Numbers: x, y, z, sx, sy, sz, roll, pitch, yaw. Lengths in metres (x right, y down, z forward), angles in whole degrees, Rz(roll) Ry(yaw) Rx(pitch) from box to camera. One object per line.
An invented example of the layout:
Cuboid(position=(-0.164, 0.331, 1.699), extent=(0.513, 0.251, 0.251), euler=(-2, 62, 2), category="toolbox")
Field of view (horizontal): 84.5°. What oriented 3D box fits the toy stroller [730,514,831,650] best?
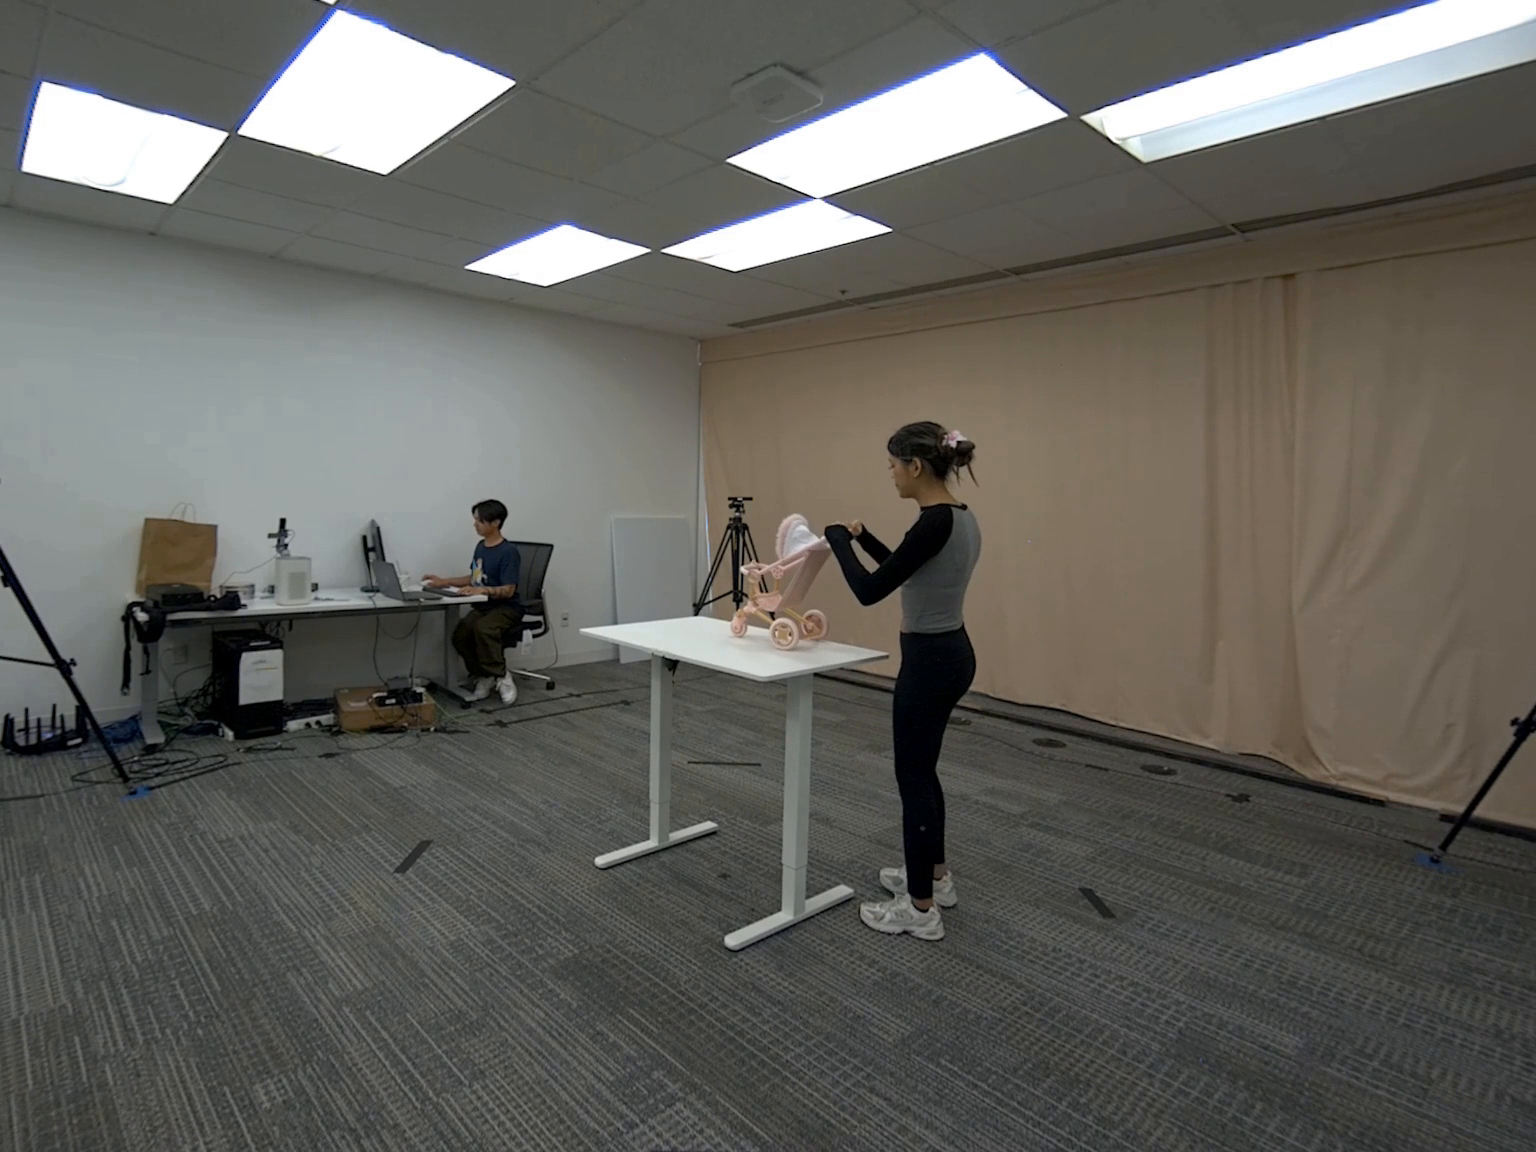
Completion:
Cuboid(position=(0.067, 0.018, 2.977), extent=(0.351, 0.532, 0.275), euler=(24, 15, 31), category="toy stroller")
